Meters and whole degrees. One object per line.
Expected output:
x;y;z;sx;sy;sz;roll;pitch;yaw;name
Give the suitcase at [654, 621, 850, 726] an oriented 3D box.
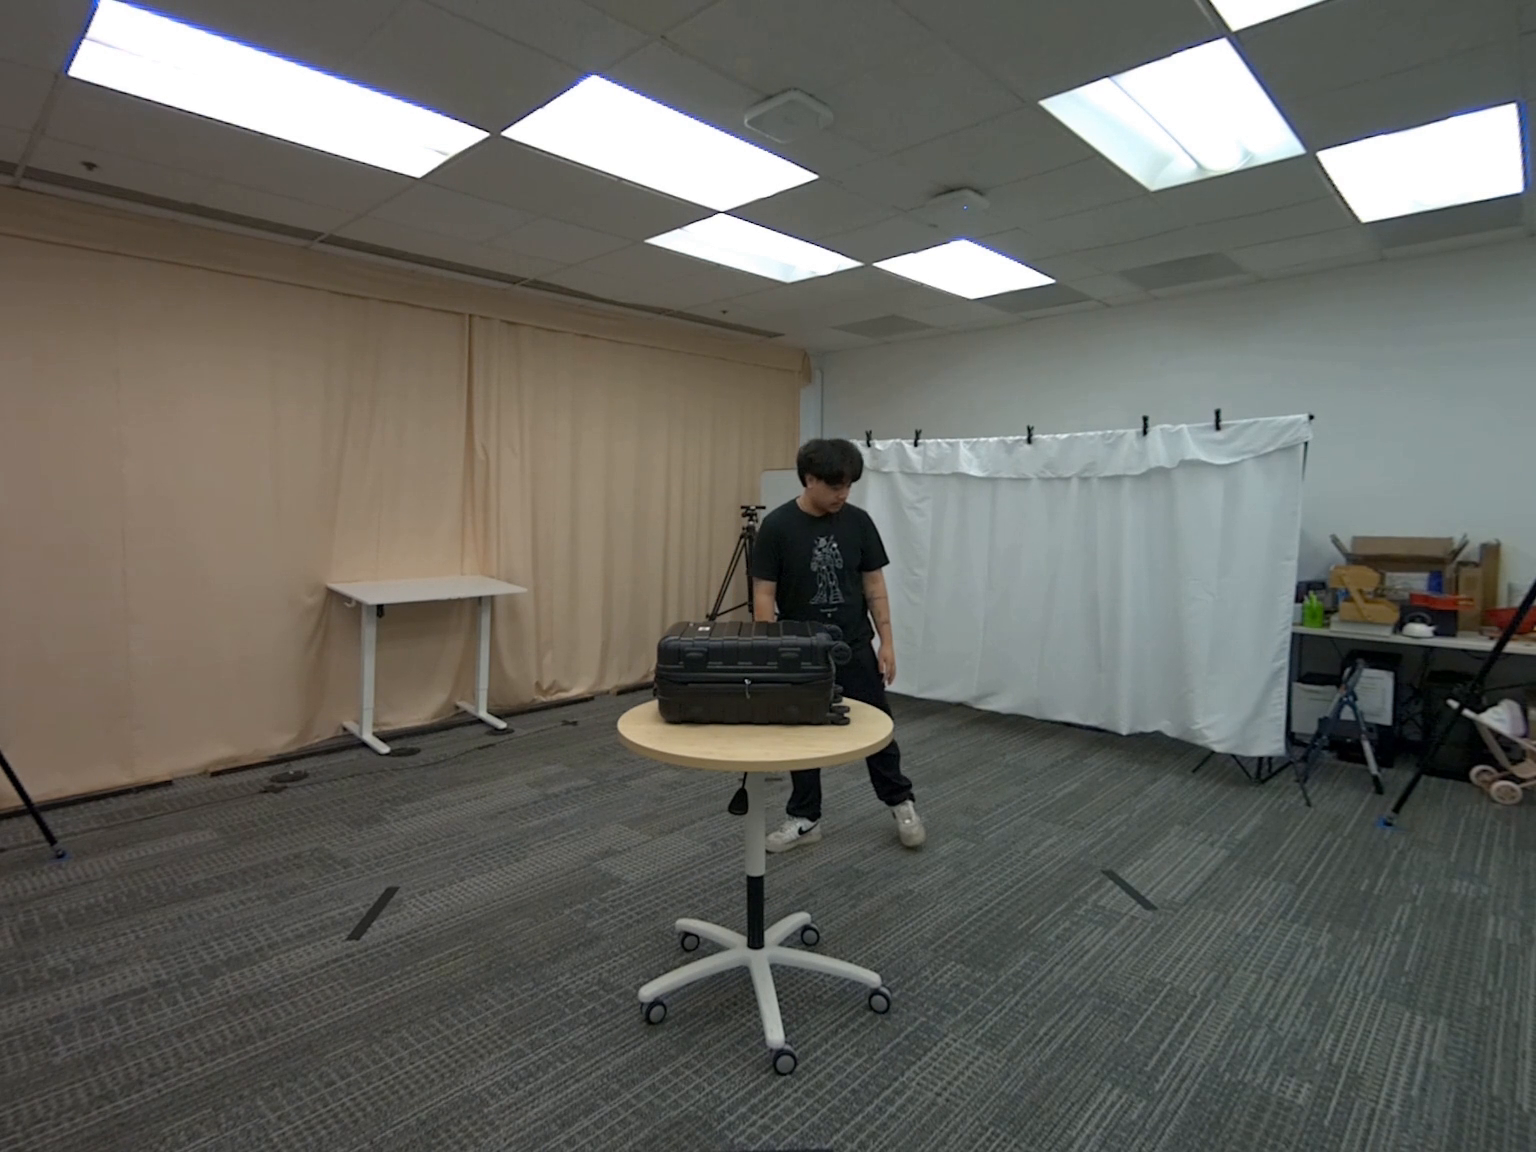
-0.049;0.277;2.450;0.552;0.247;0.375;-2;6;3;suitcase
